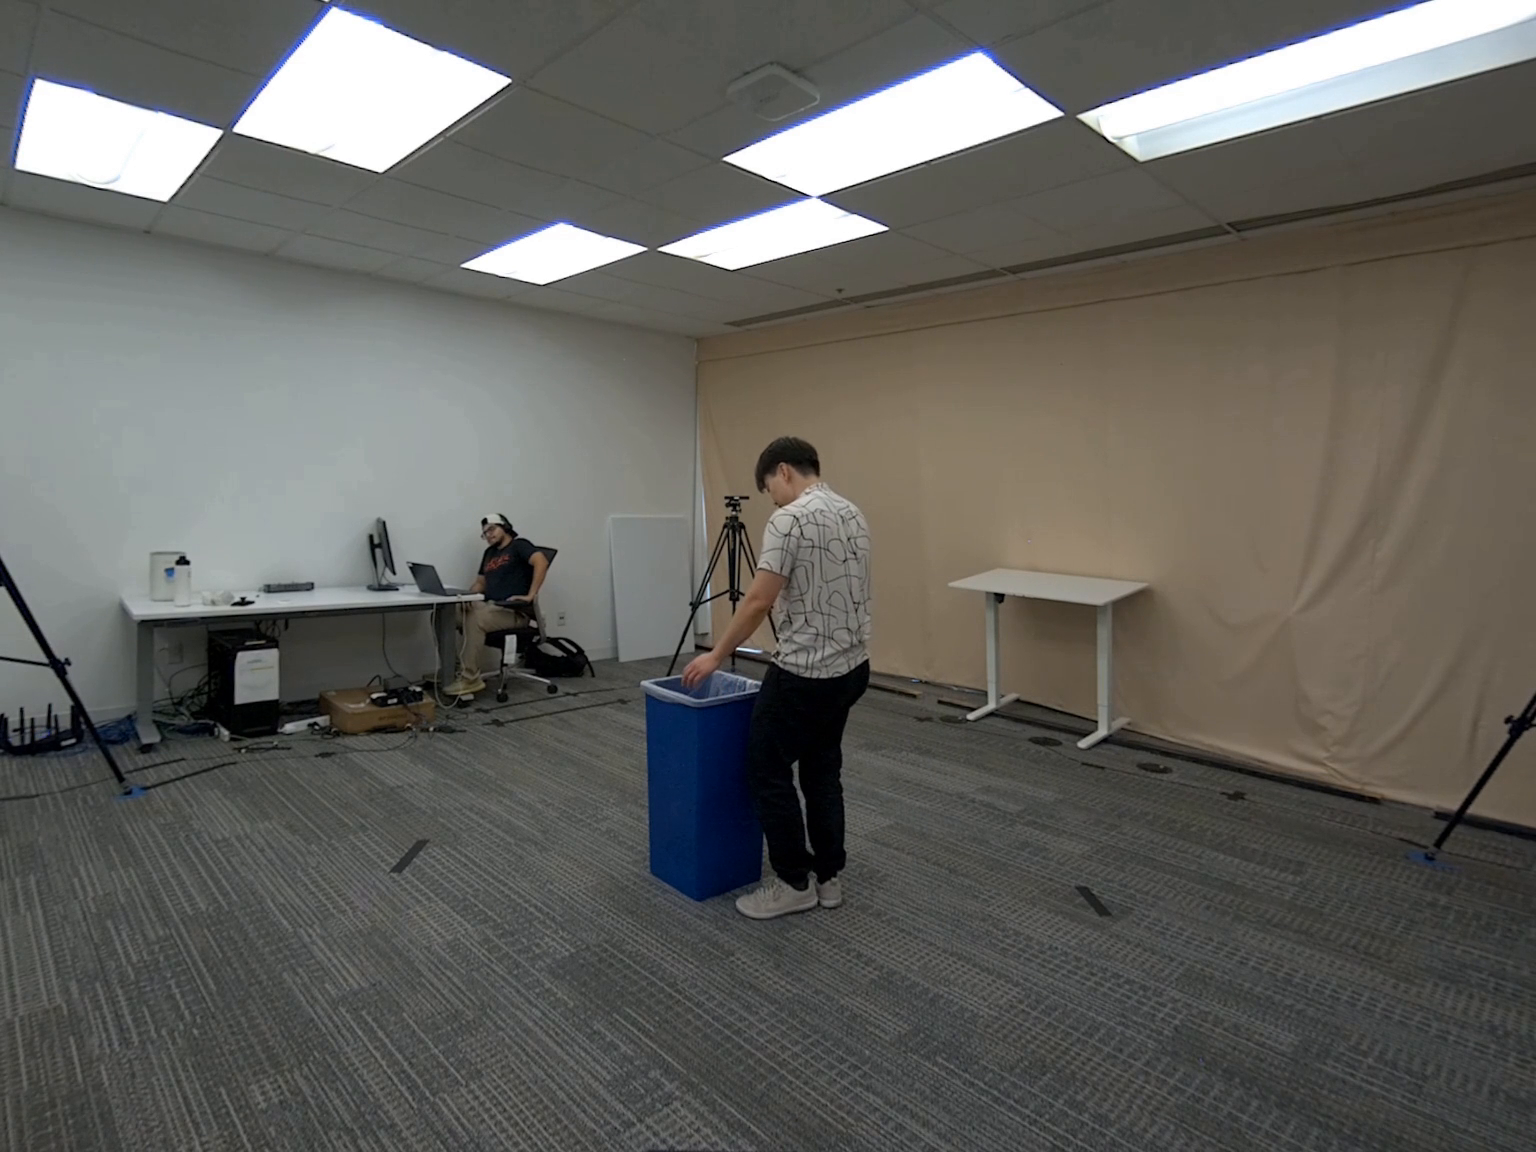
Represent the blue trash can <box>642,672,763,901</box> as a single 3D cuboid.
[{"bbox_3d":[-0.239,0.745,3.078,0.369,0.712,0.384,-2,5,-42],"label":"blue trash can"}]
